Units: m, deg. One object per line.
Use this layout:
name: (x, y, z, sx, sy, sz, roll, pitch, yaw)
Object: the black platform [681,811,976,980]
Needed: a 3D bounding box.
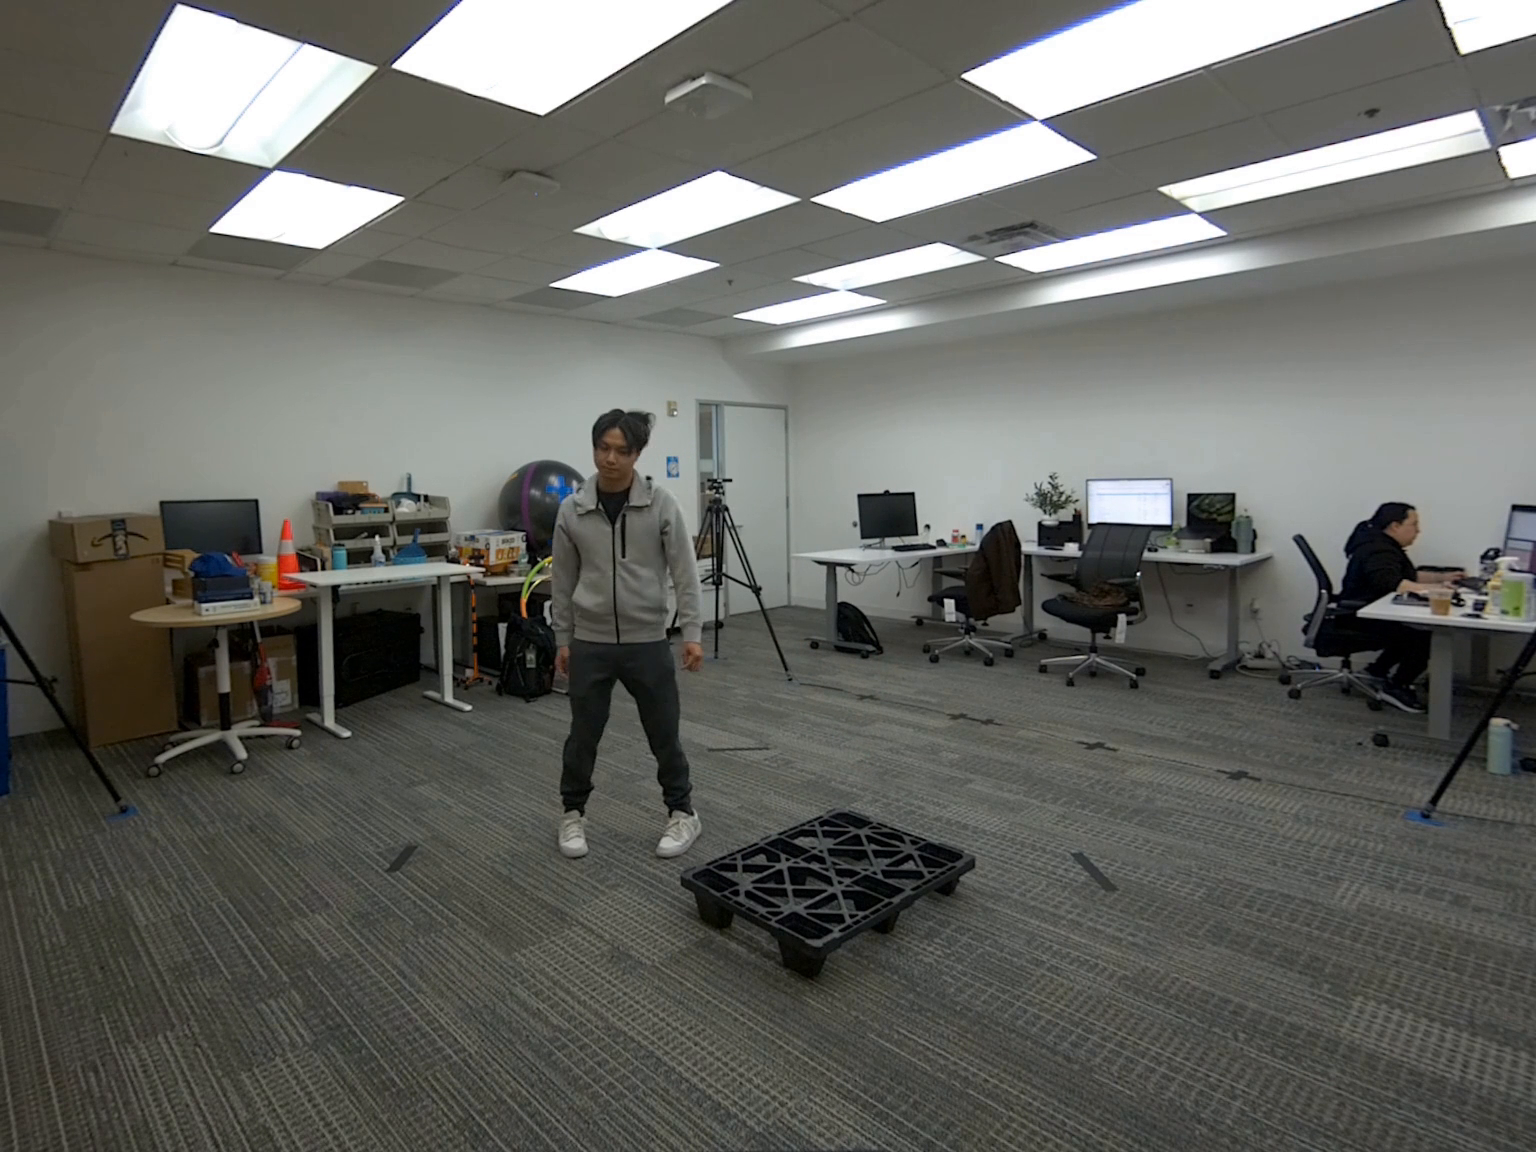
black platform: (0.201, 1.011, 2.792, 0.784, 0.143, 0.624, -7, 8, -43)
